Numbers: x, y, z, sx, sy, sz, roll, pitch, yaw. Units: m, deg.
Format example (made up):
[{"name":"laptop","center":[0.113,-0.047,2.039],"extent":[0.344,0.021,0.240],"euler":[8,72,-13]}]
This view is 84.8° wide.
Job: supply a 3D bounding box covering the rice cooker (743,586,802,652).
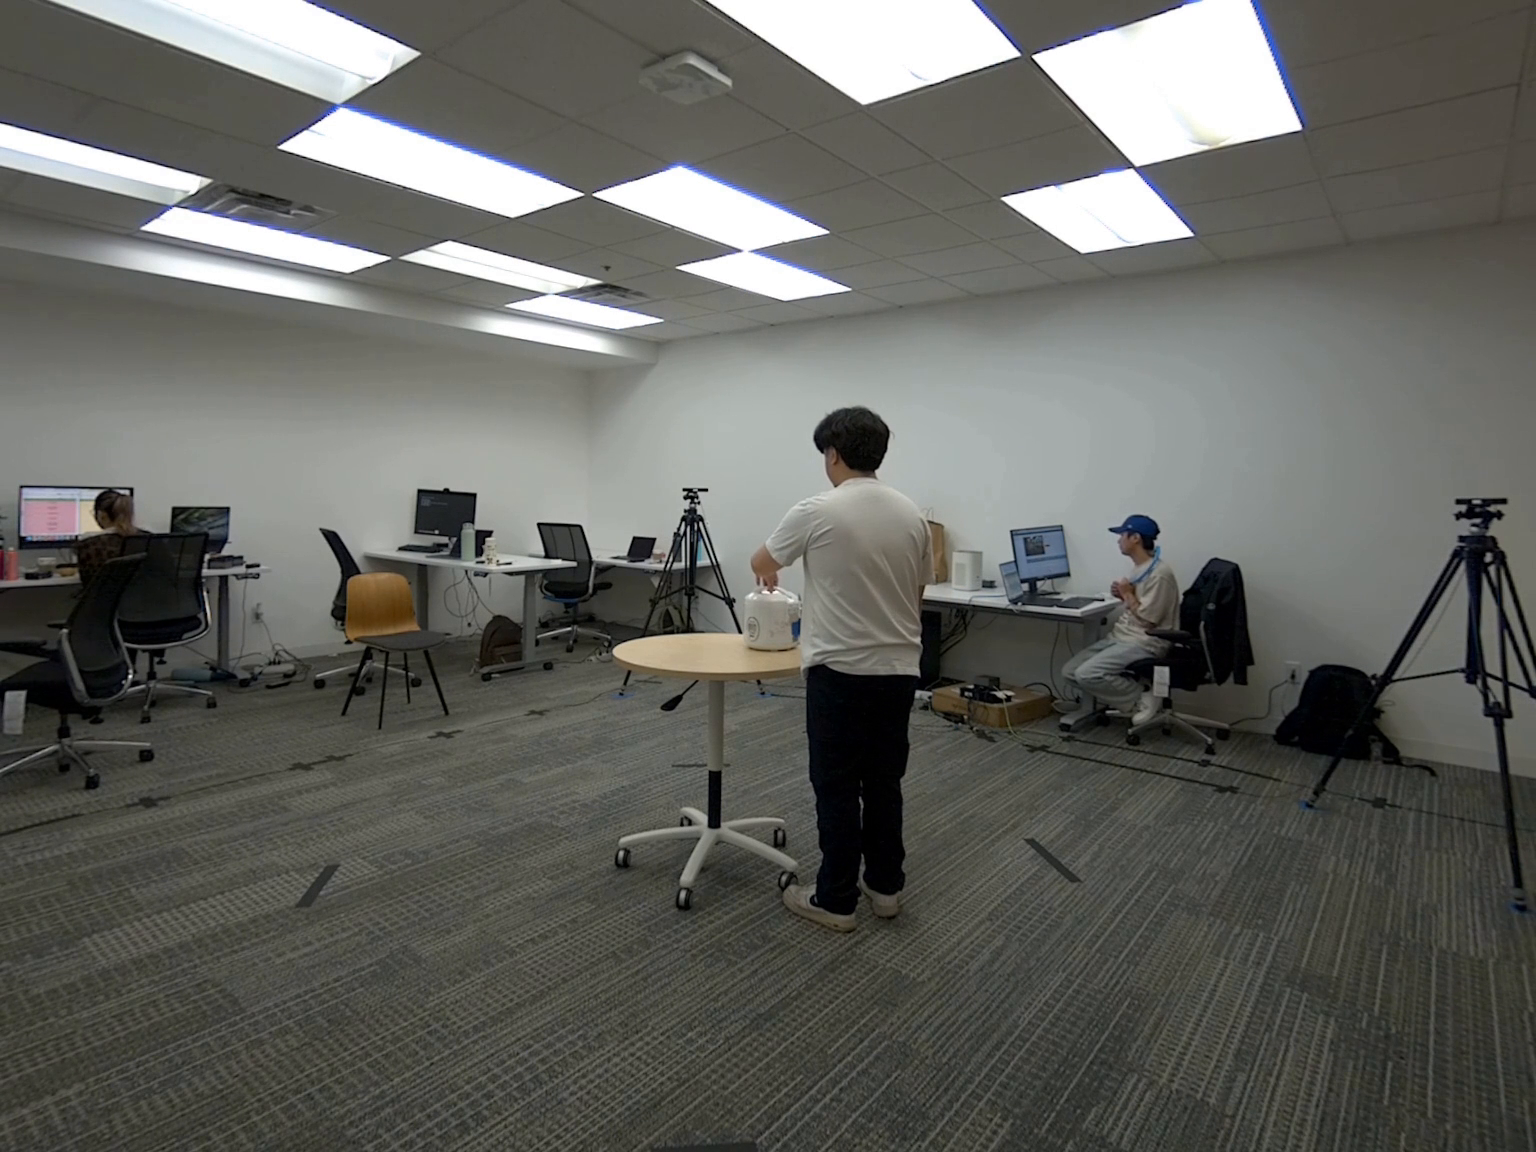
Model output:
[{"name":"rice cooker","center":[0.006,0.147,3.201],"extent":[0.228,0.232,0.211],"euler":[4,4,42]}]
